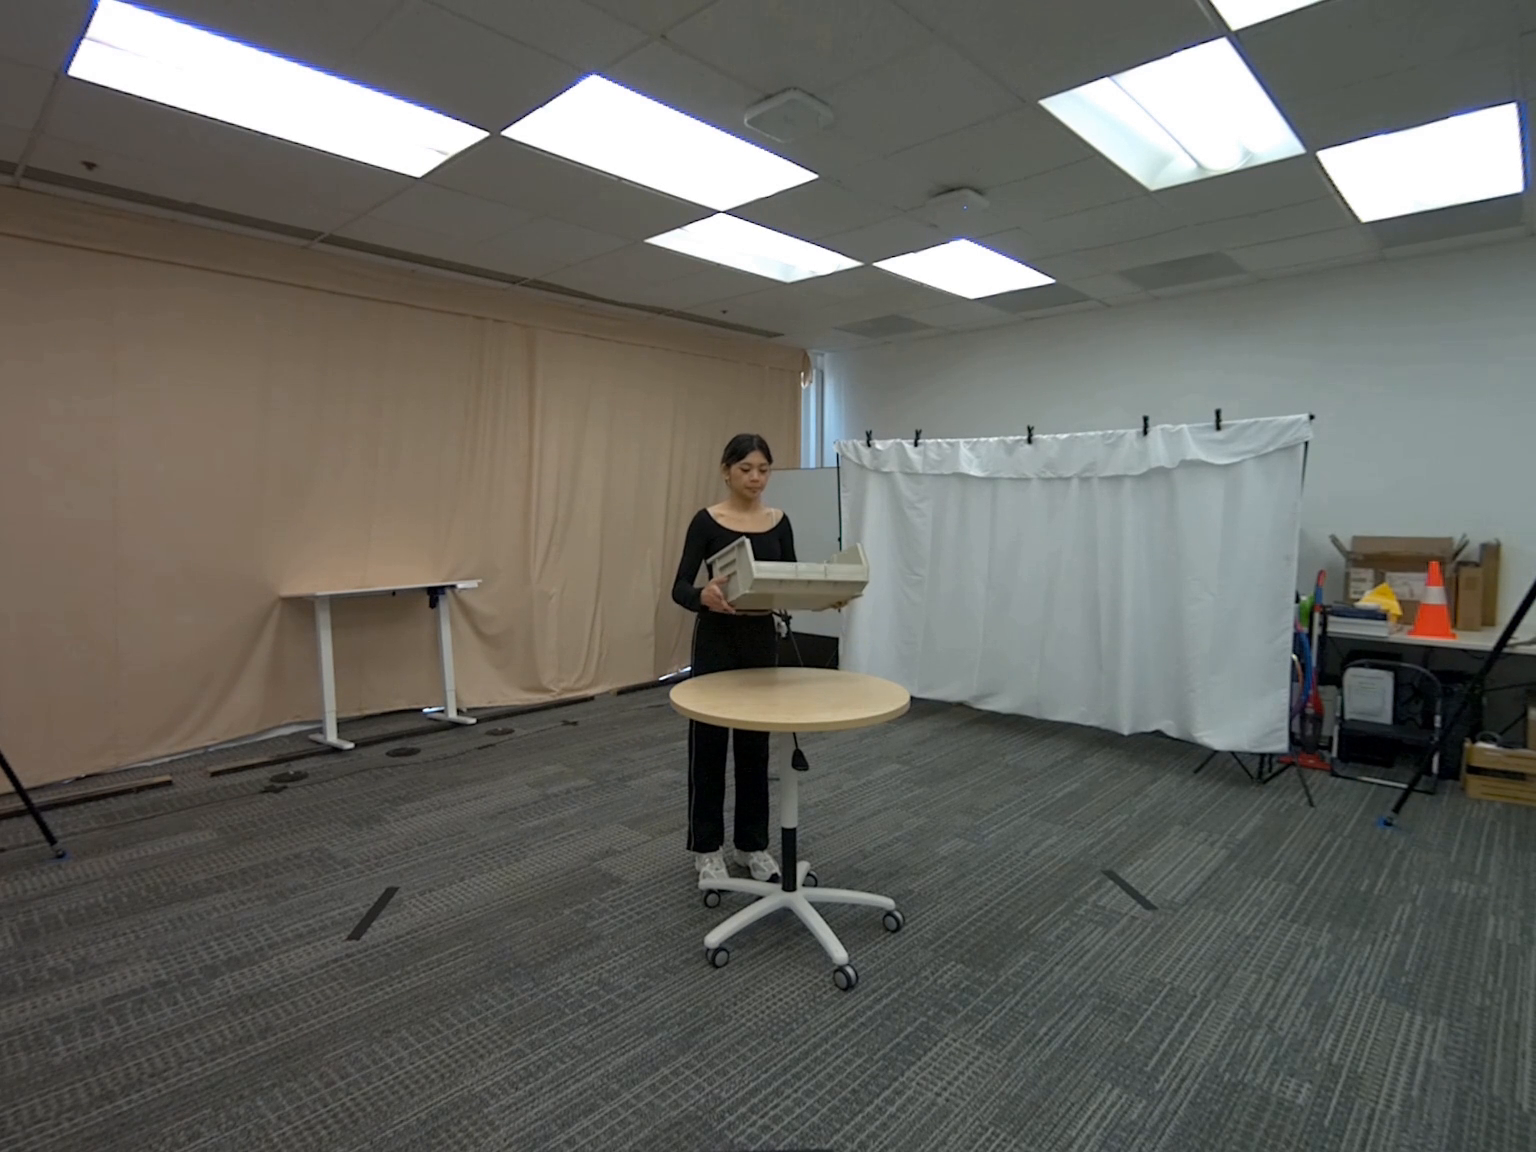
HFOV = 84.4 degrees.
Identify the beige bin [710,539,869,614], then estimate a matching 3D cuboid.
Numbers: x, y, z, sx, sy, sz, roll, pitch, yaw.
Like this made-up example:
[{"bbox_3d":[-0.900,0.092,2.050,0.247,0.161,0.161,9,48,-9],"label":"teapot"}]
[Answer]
[{"bbox_3d":[0.066,0.011,2.792,0.413,0.191,0.382,2,-13,-22],"label":"beige bin"}]
